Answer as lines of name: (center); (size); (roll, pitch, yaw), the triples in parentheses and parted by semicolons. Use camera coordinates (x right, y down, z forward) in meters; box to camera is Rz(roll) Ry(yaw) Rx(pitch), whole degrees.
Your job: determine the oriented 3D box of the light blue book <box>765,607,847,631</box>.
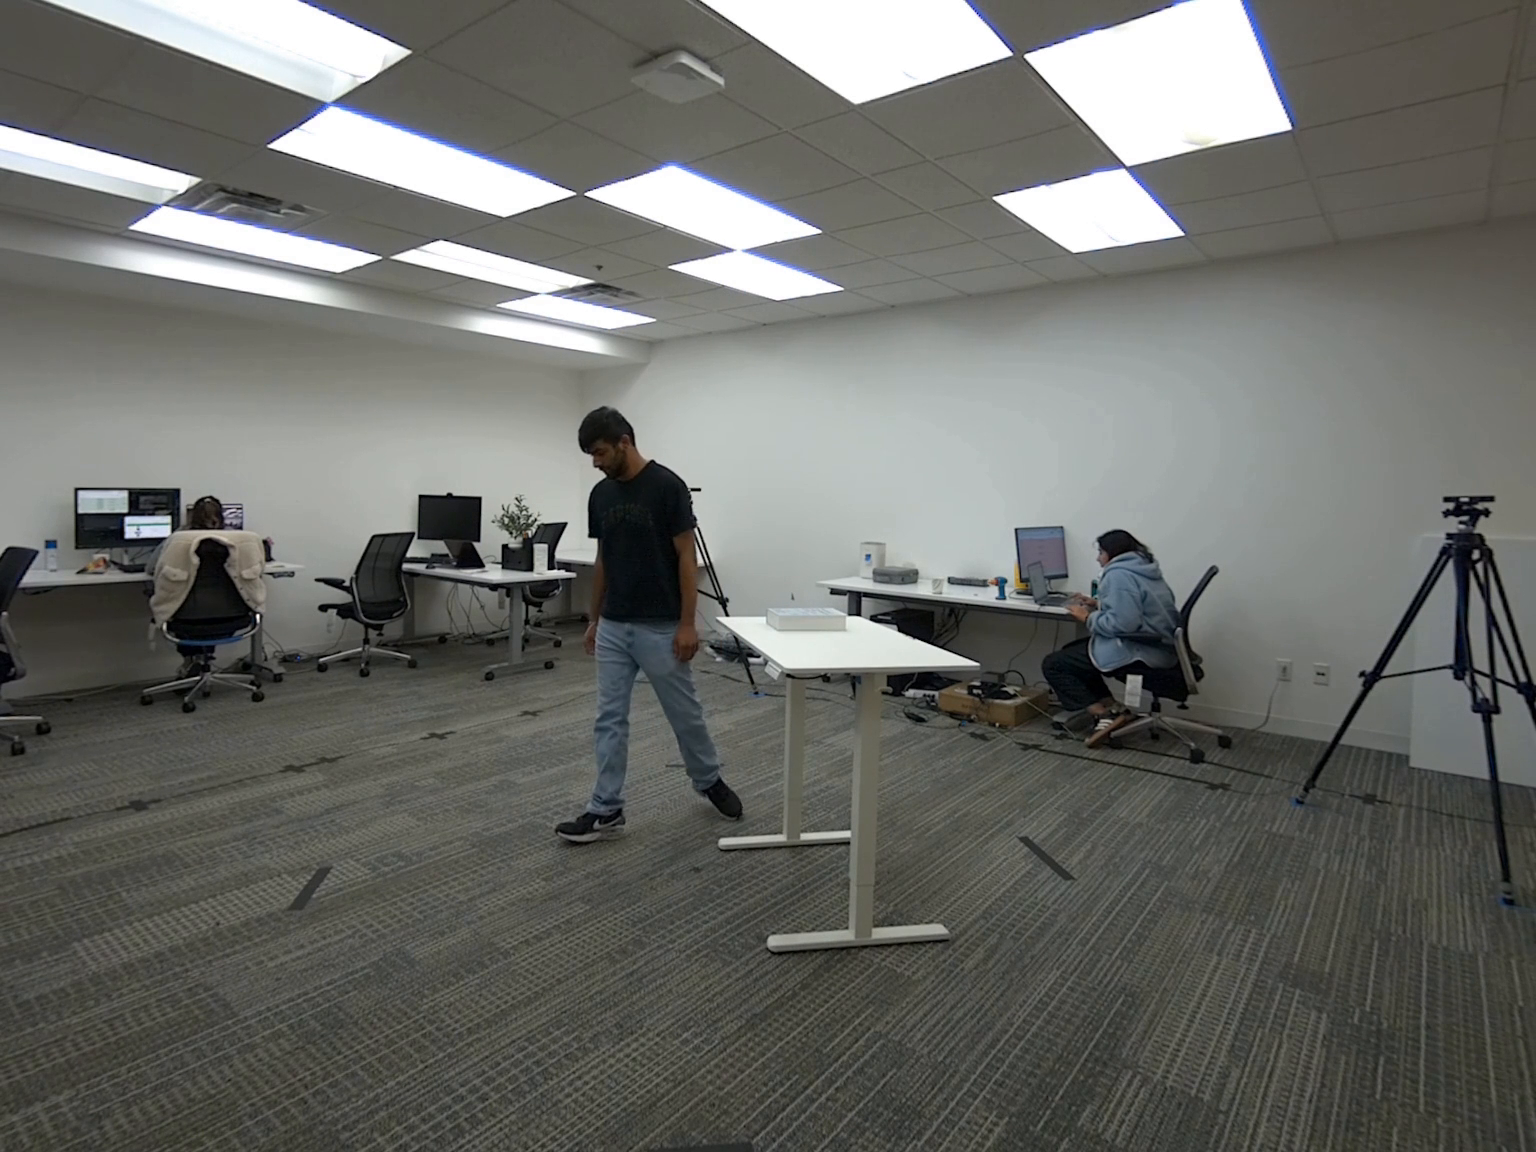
light blue book: (0.144, 0.159, 3.180); (0.258, 0.059, 0.194); (-1, 6, -11)
